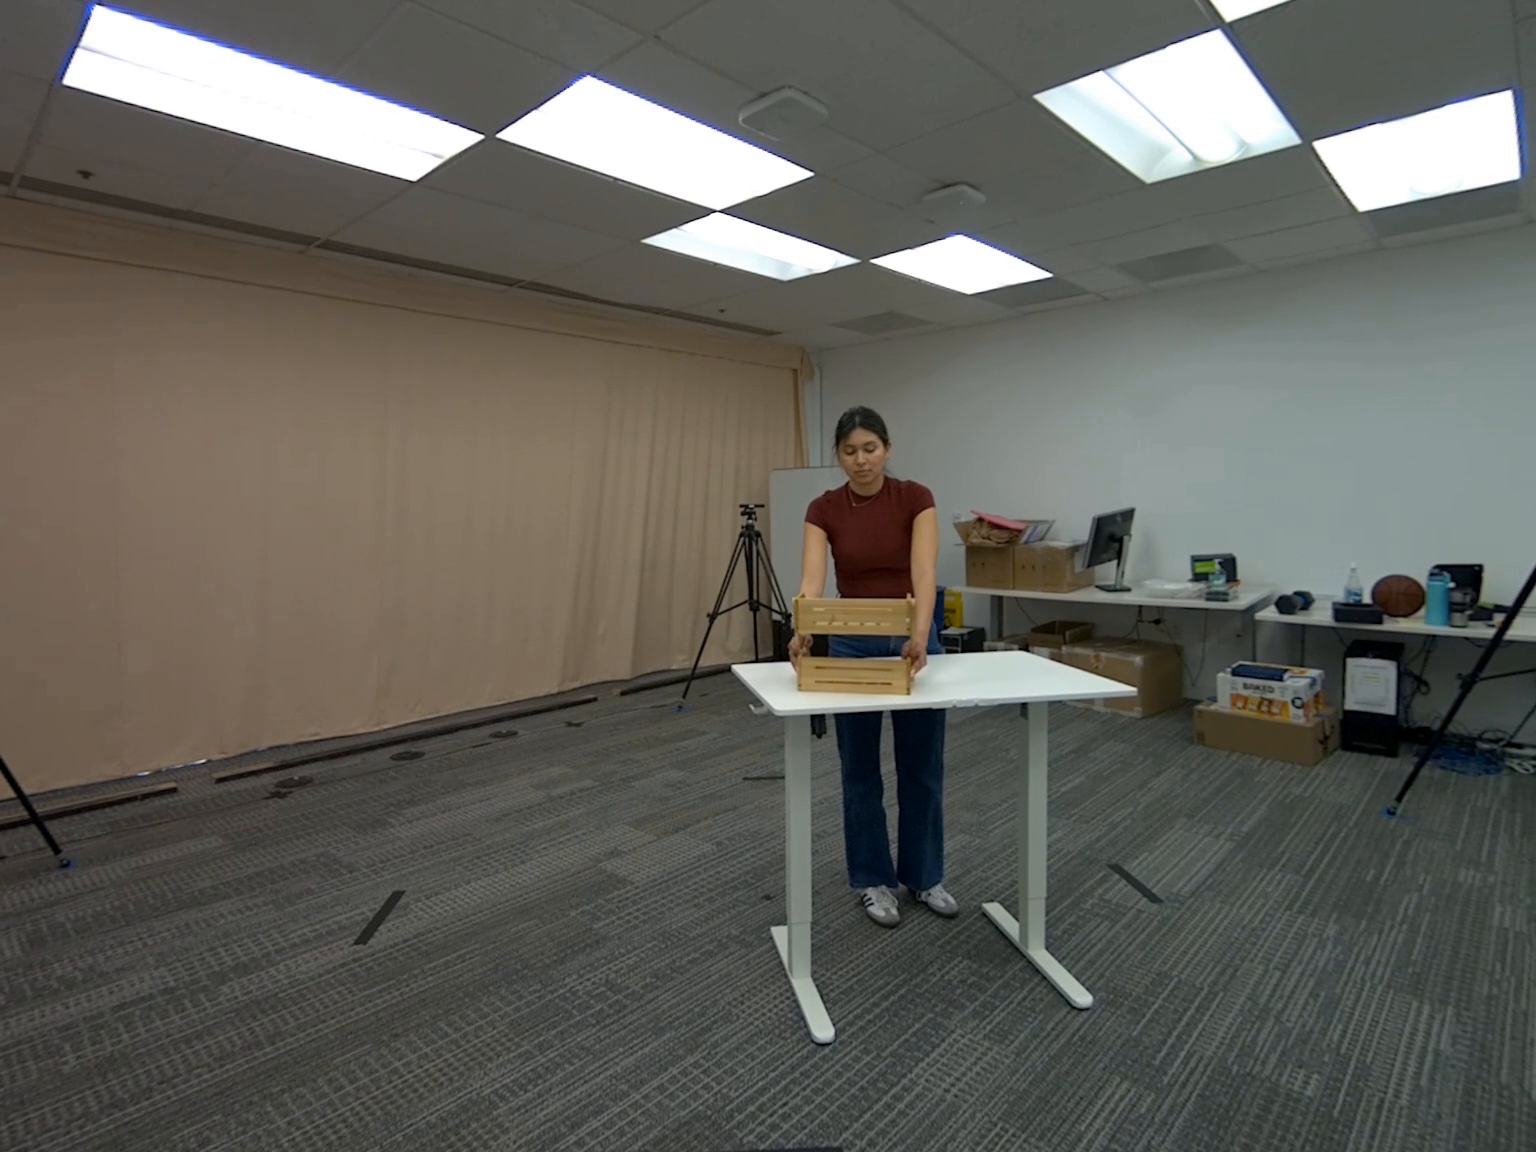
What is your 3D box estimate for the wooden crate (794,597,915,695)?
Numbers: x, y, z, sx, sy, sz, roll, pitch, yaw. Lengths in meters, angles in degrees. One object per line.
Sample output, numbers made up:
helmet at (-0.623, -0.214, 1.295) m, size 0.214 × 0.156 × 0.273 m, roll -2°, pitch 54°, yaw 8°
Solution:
wooden crate at (0.260, 0.181, 2.354) m, size 0.328 × 0.273 × 0.299 m, roll 0°, pitch 3°, yaw 10°
